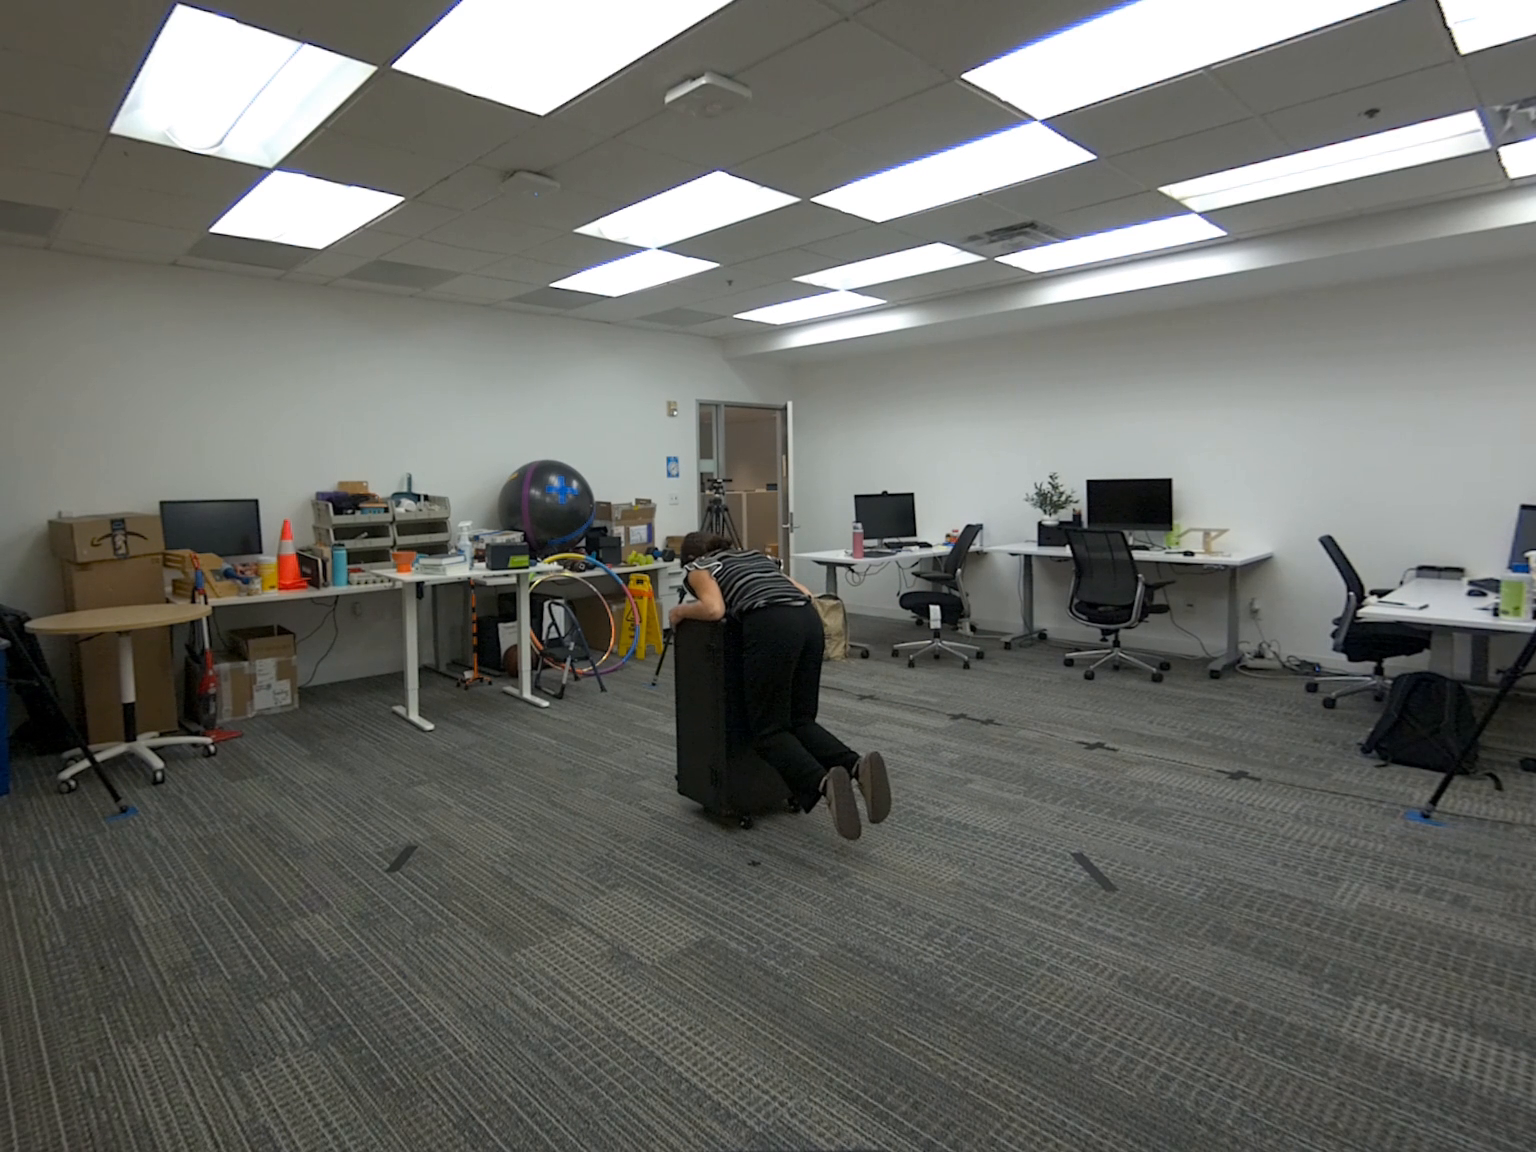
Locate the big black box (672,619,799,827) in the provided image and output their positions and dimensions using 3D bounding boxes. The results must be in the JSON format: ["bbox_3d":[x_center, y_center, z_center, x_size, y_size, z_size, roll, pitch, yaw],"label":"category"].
[{"bbox_3d":[-0.106,0.576,3.616,0.508,0.859,0.408,-4,4,-38],"label":"big black box"}]
